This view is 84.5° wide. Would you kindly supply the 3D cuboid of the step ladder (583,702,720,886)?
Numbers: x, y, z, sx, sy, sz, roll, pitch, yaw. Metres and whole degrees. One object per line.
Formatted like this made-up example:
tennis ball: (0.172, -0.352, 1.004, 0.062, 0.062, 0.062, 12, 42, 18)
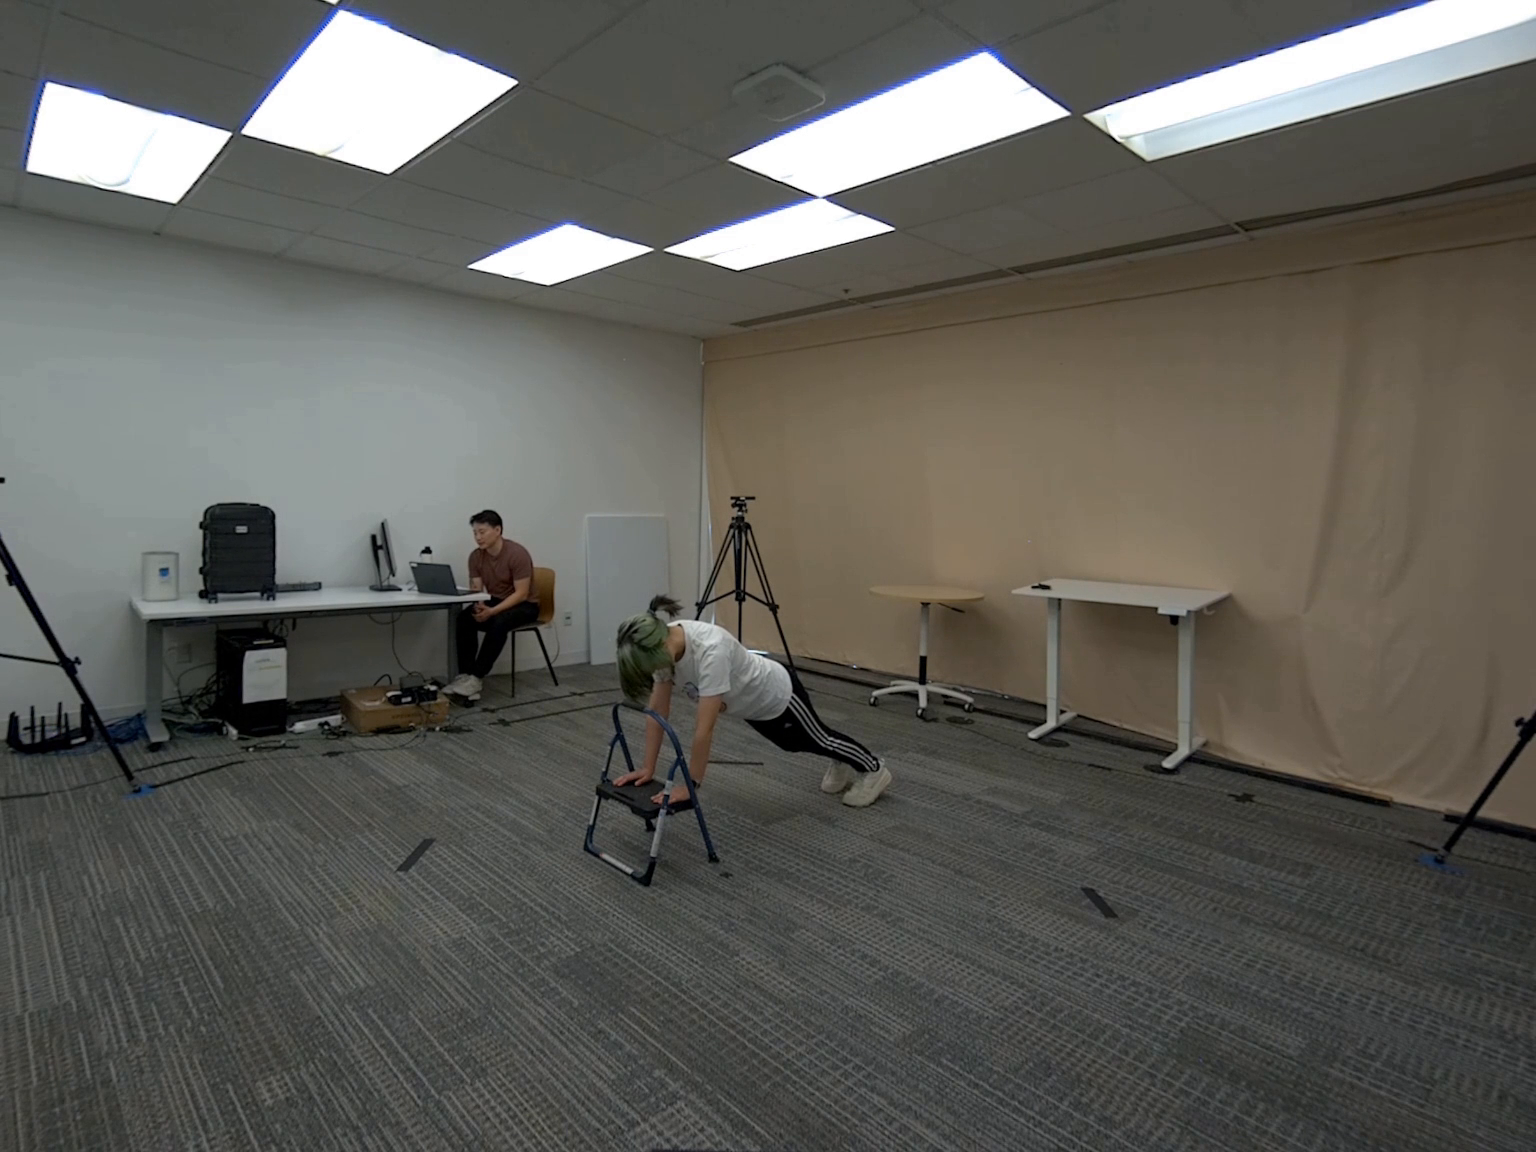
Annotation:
step ladder: (-0.457, 0.783, 3.241, 0.341, 0.605, 0.442, -2, 5, -44)
